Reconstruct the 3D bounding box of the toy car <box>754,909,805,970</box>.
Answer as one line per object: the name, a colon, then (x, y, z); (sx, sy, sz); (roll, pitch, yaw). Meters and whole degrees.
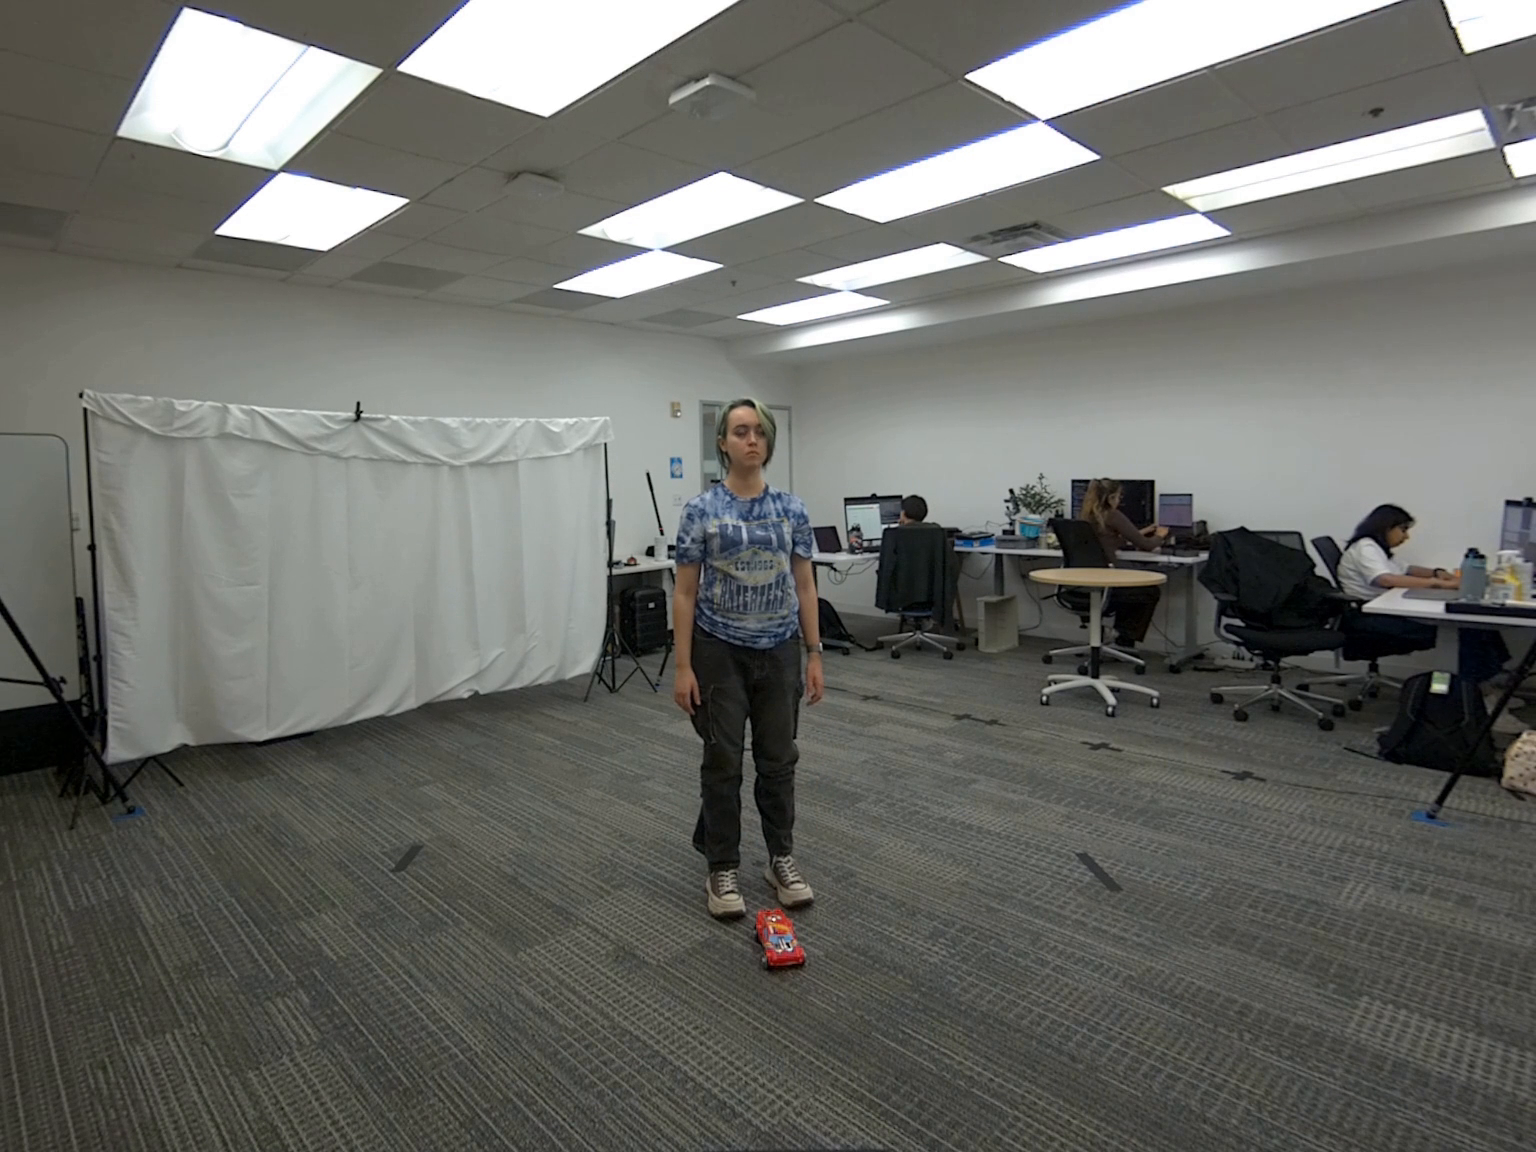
toy car: (0.030, 1.083, 2.536); (0.129, 0.082, 0.260); (-4, 16, -9)
